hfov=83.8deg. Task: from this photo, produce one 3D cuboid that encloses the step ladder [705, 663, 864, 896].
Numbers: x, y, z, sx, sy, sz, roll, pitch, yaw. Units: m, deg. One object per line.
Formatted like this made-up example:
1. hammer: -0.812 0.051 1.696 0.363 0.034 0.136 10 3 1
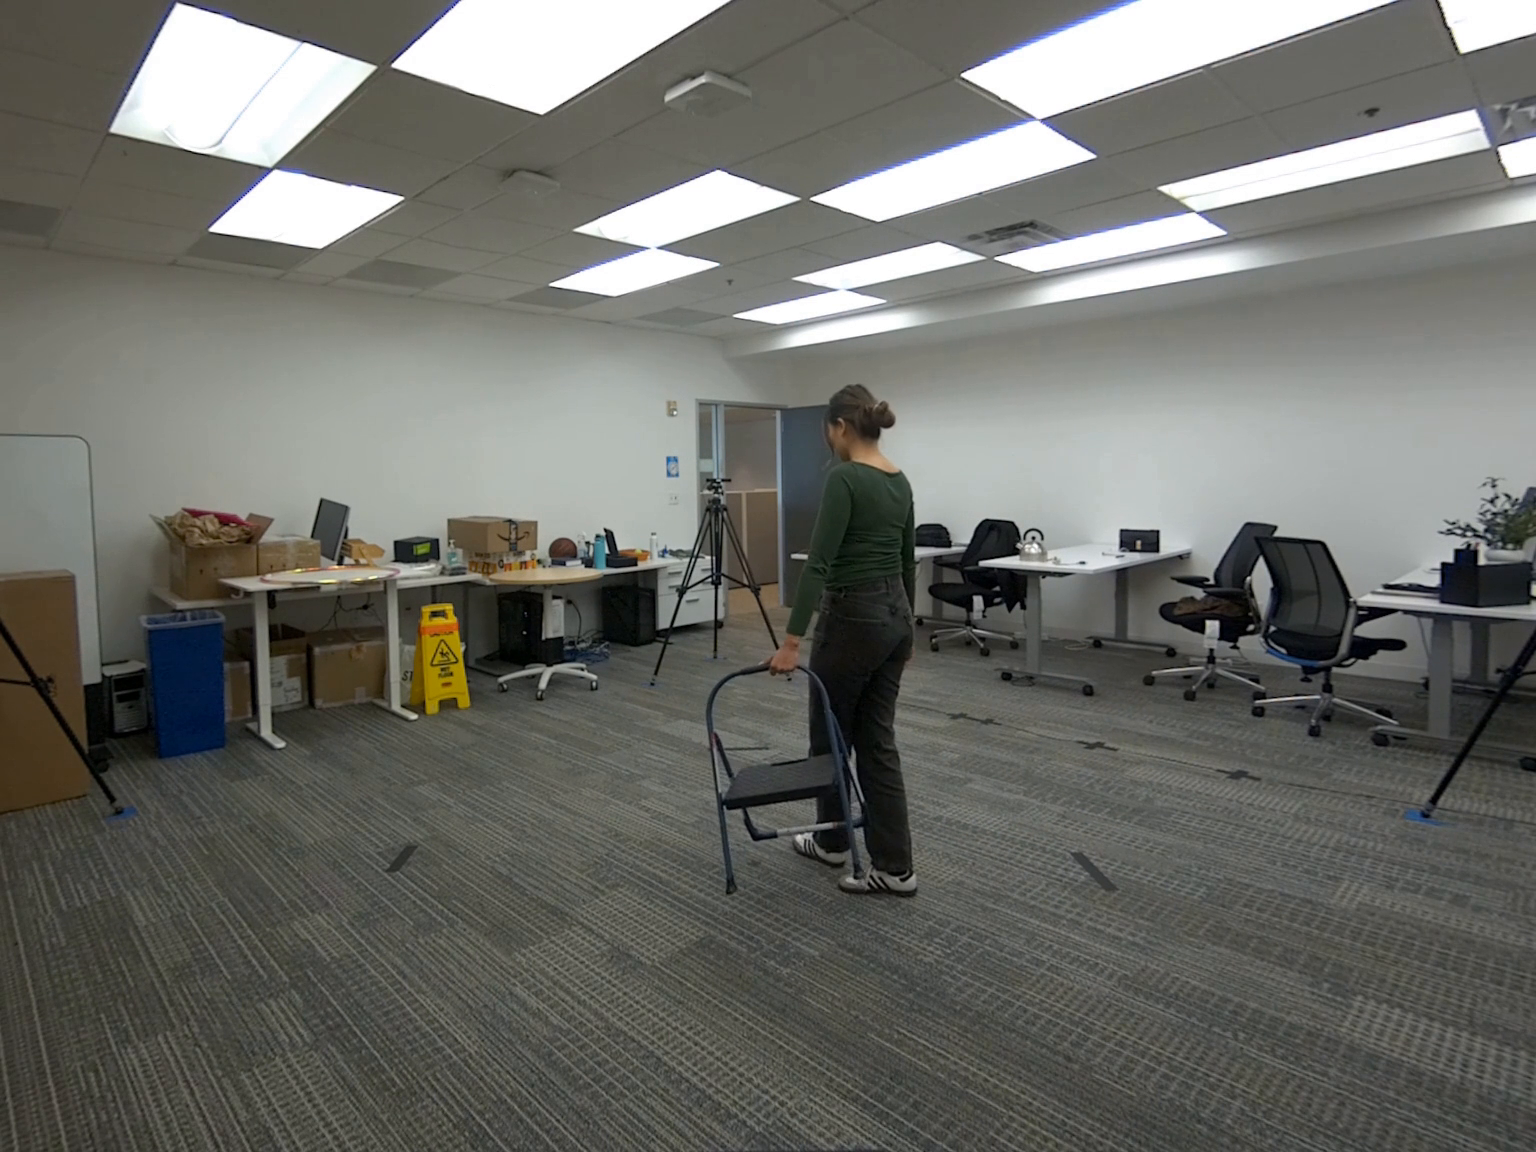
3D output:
1. step ladder: 0.035 0.594 2.656 0.435 0.603 0.347 -13 5 15
